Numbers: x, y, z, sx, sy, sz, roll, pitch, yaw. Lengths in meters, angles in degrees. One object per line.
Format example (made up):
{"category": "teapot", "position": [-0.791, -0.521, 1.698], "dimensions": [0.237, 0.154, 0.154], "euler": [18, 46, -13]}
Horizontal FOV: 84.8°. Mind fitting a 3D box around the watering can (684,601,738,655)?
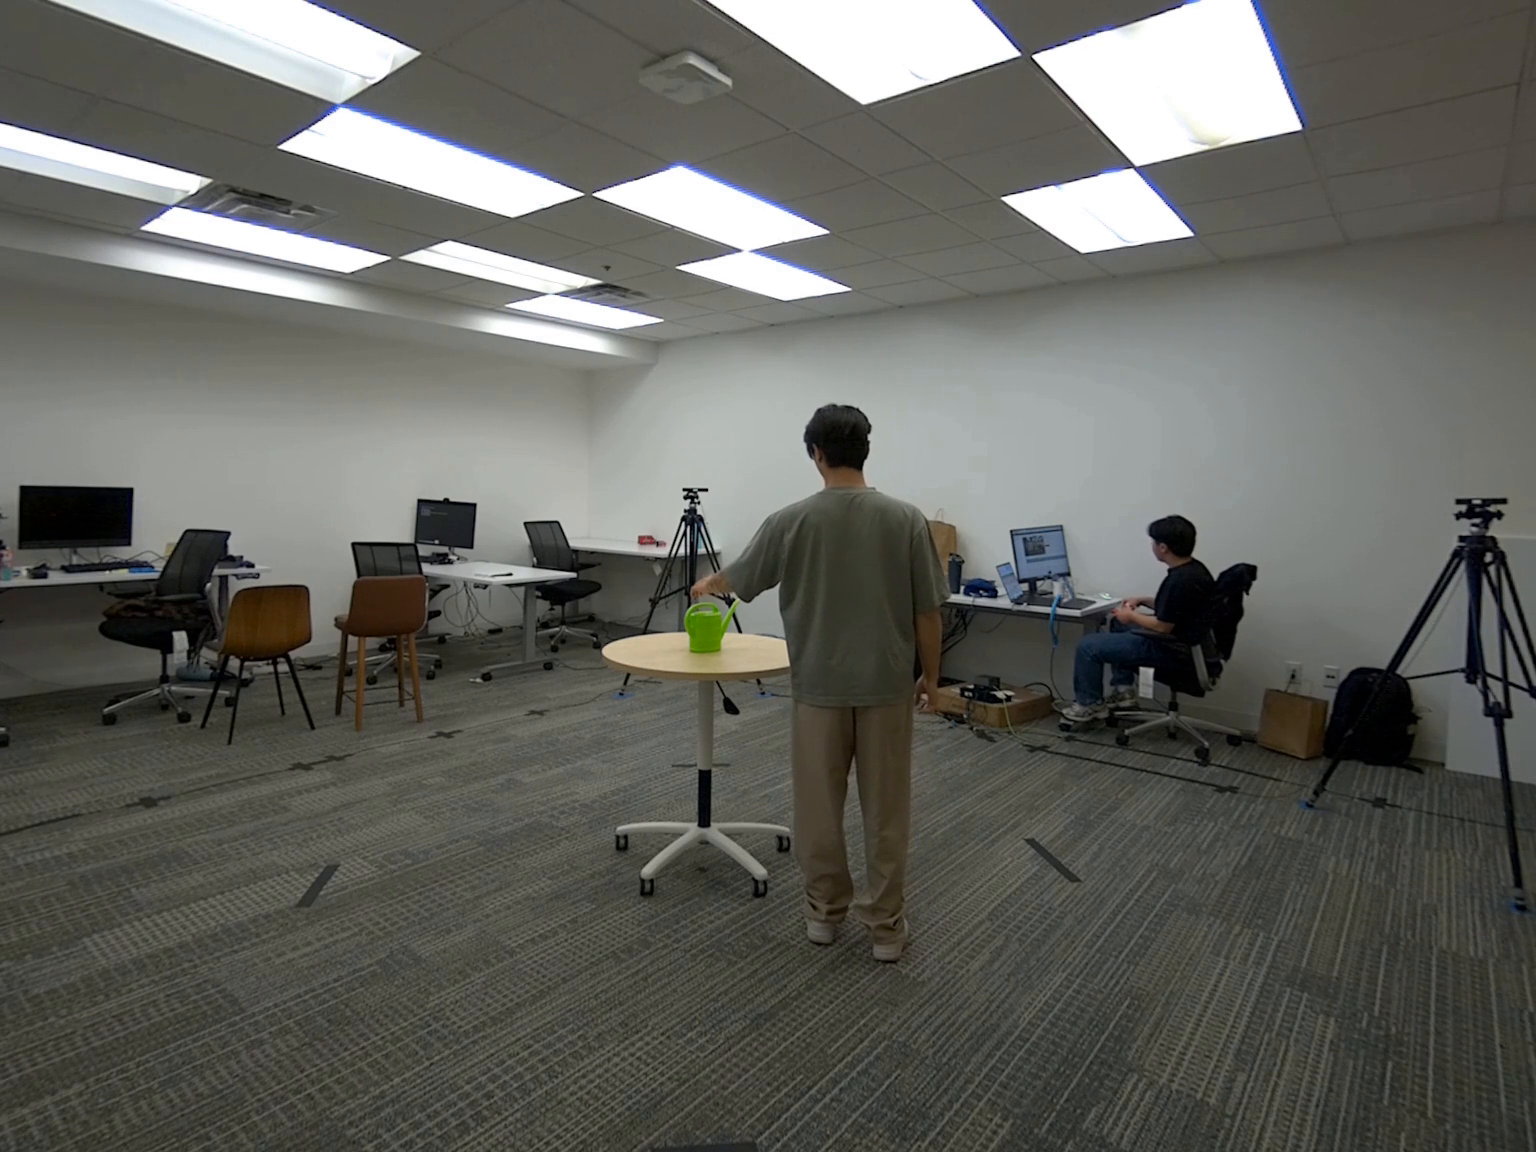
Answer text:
{"category": "watering can", "position": [-0.199, 0.181, 3.140], "dimensions": [0.272, 0.176, 0.101], "euler": [-4, 7, -27]}
